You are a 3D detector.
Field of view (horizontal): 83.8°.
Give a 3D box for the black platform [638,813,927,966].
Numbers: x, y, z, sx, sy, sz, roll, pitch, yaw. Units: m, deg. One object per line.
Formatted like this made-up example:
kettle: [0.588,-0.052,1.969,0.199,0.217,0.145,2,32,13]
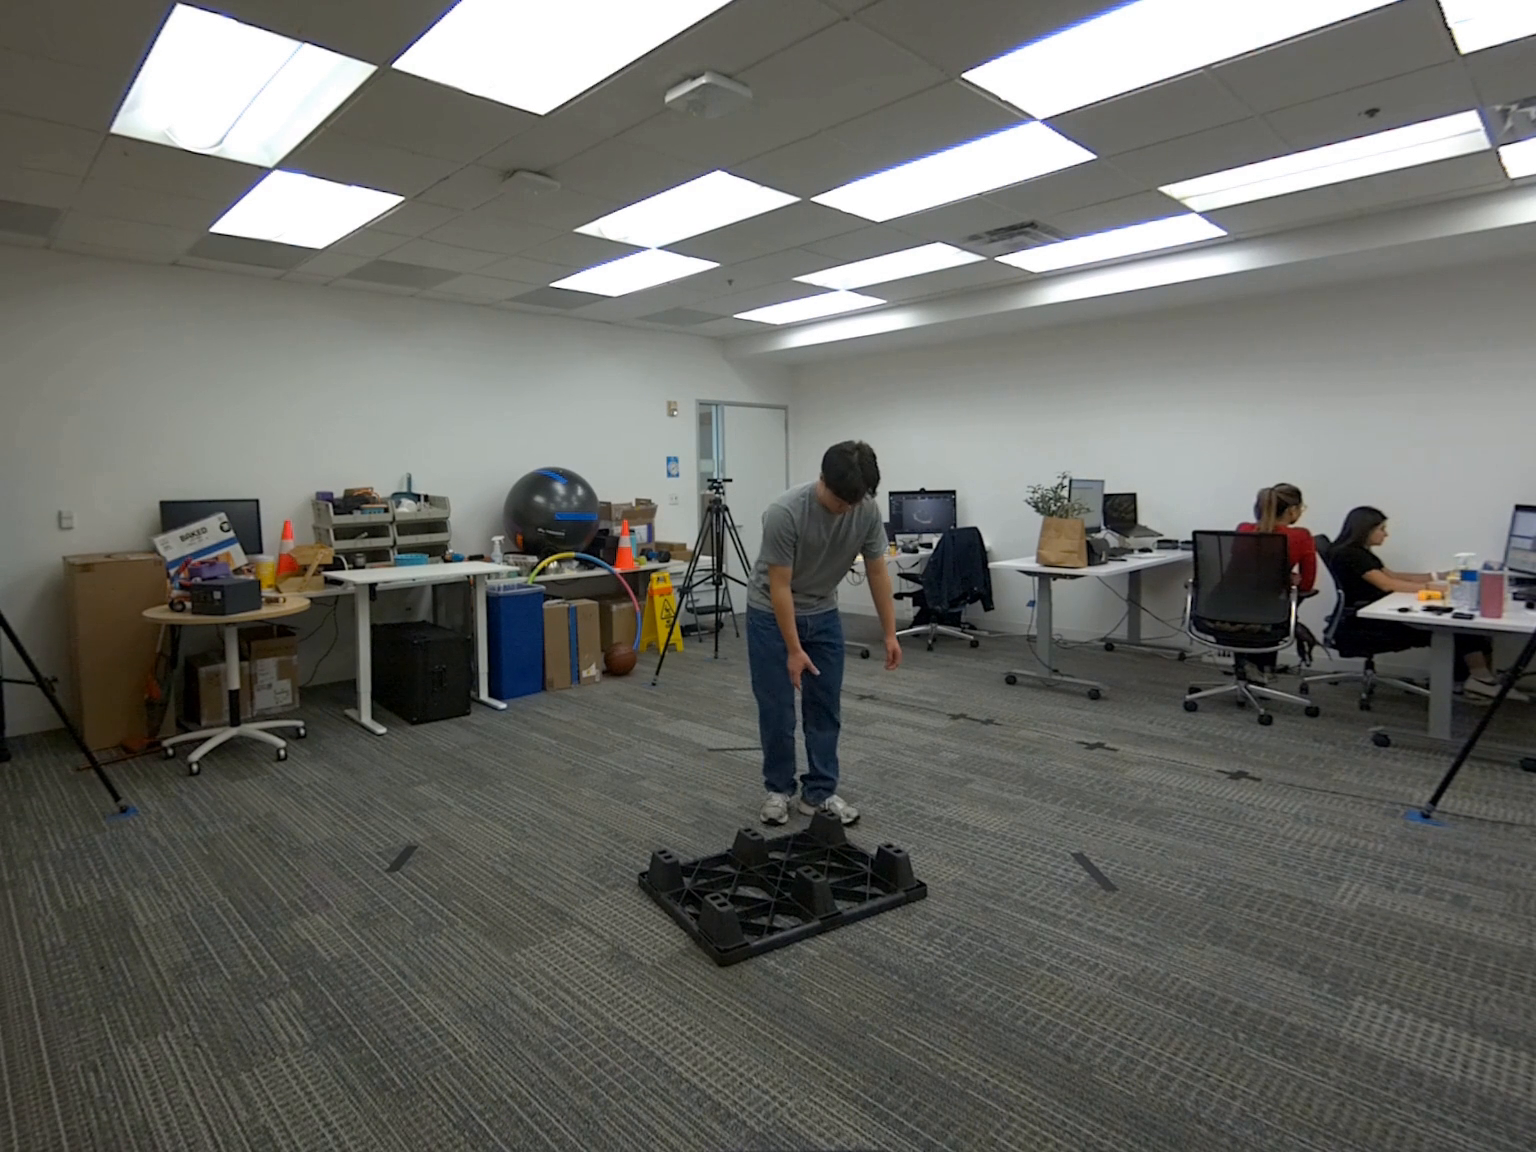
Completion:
black platform: [0.044,1.001,2.897,0.786,0.142,0.623,-5,8,-32]
